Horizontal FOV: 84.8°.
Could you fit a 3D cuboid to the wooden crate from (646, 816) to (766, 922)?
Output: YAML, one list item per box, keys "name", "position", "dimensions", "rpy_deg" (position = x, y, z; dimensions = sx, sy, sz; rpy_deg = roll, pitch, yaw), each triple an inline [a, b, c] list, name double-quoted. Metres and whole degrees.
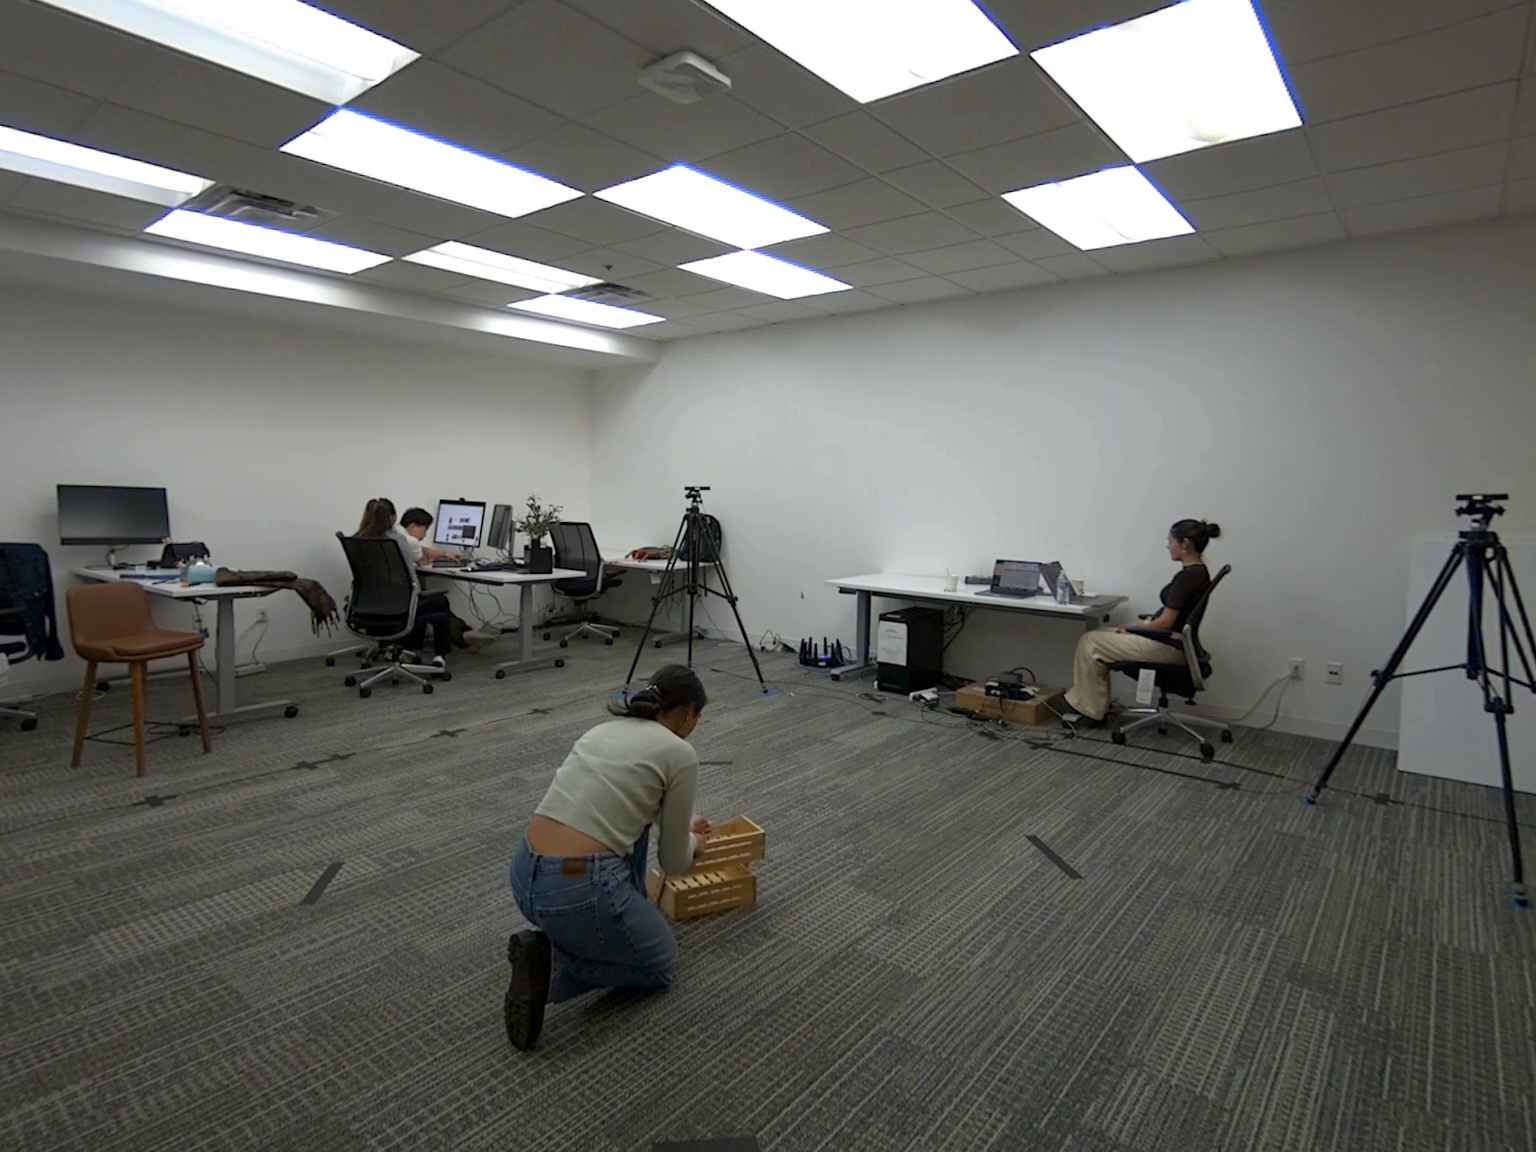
- name: "wooden crate"
  position: [-0.228, 0.954, 2.873]
  dimensions: [0.316, 0.272, 0.311]
  rpy_deg: [-2, 5, -29]
